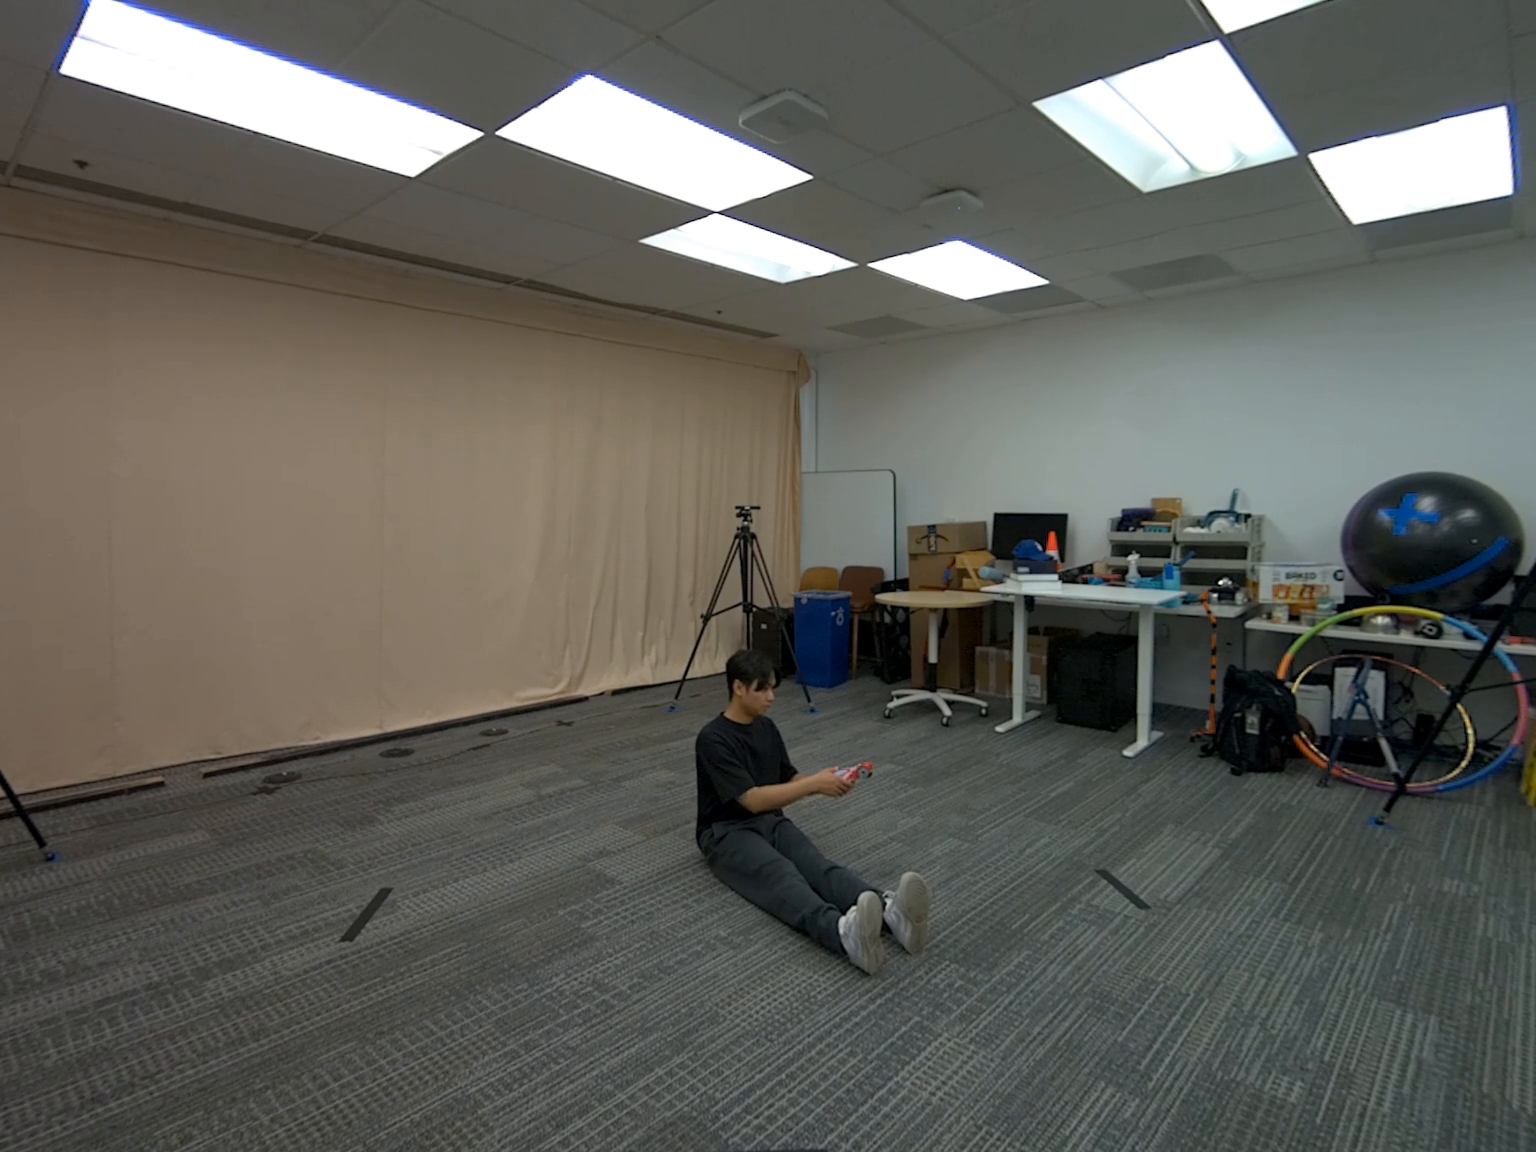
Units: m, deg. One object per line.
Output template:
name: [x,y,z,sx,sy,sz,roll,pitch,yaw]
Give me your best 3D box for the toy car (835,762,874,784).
toy car: [0.274,0.784,3.218,0.257,0.084,0.127,-18,-15,13]
